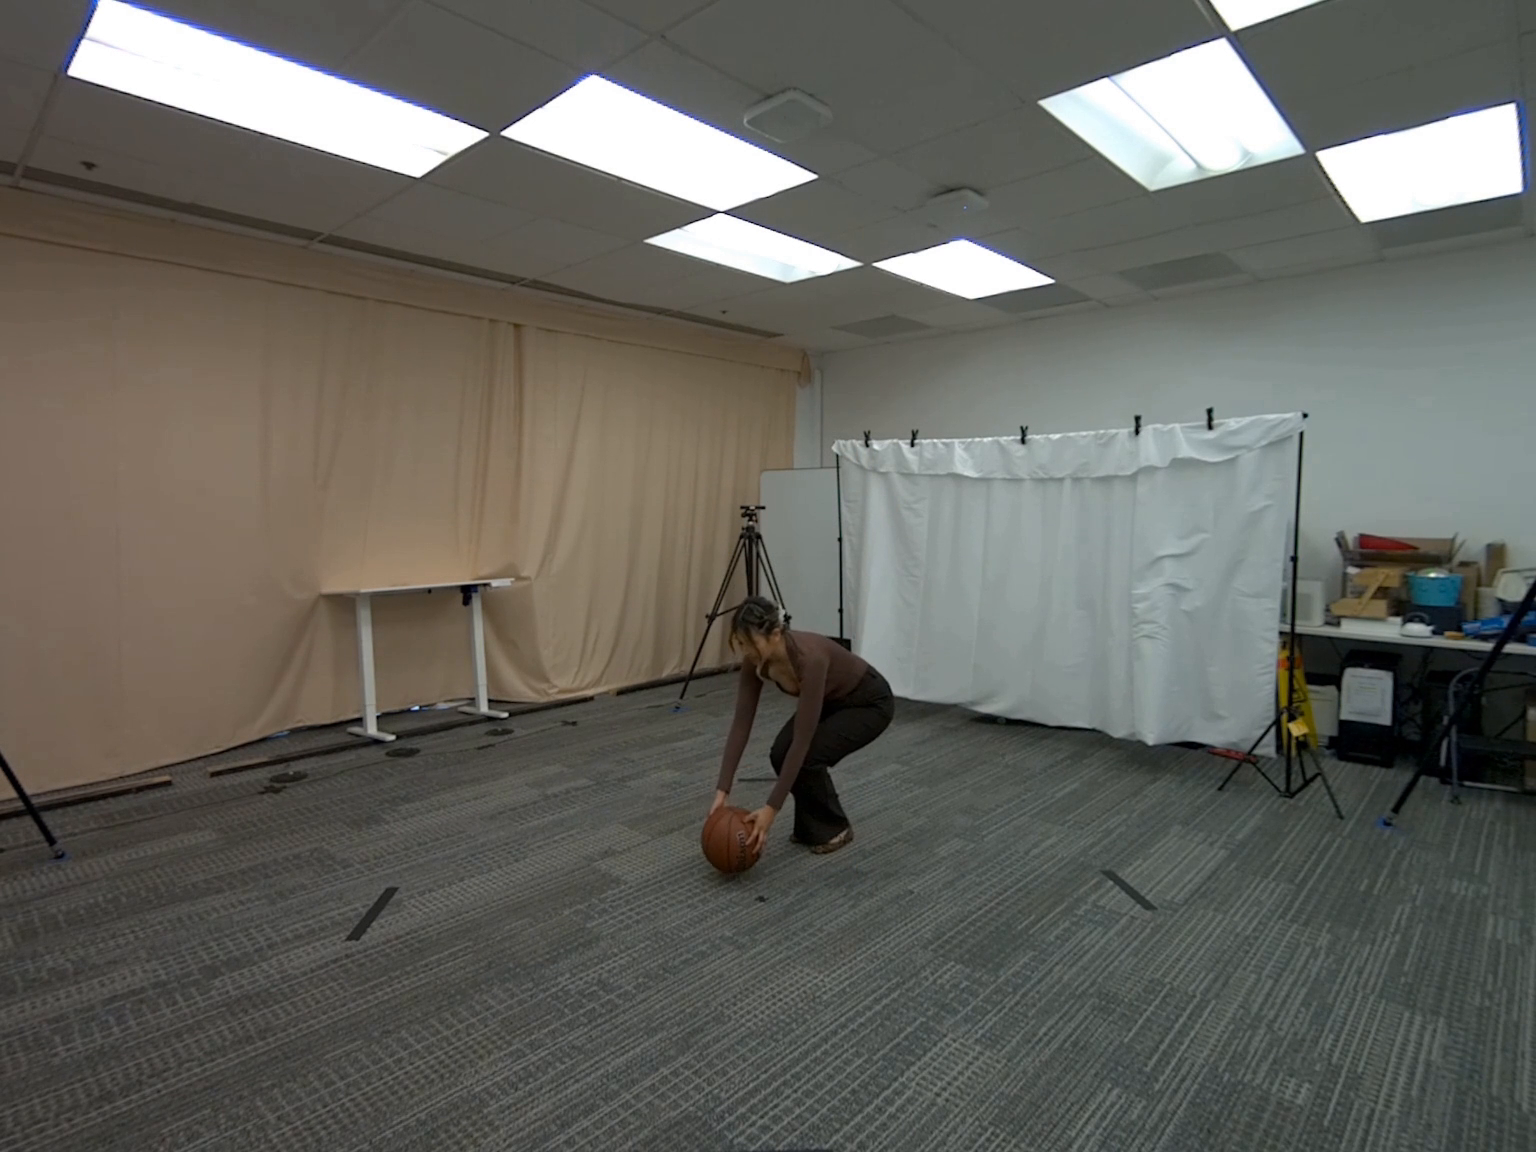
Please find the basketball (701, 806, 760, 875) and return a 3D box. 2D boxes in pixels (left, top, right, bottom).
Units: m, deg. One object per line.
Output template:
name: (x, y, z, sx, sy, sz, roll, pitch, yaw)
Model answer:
basketball: (-0.127, 0.972, 3.152, 0.236, 0.235, 0.237, 0, 4, -2)
